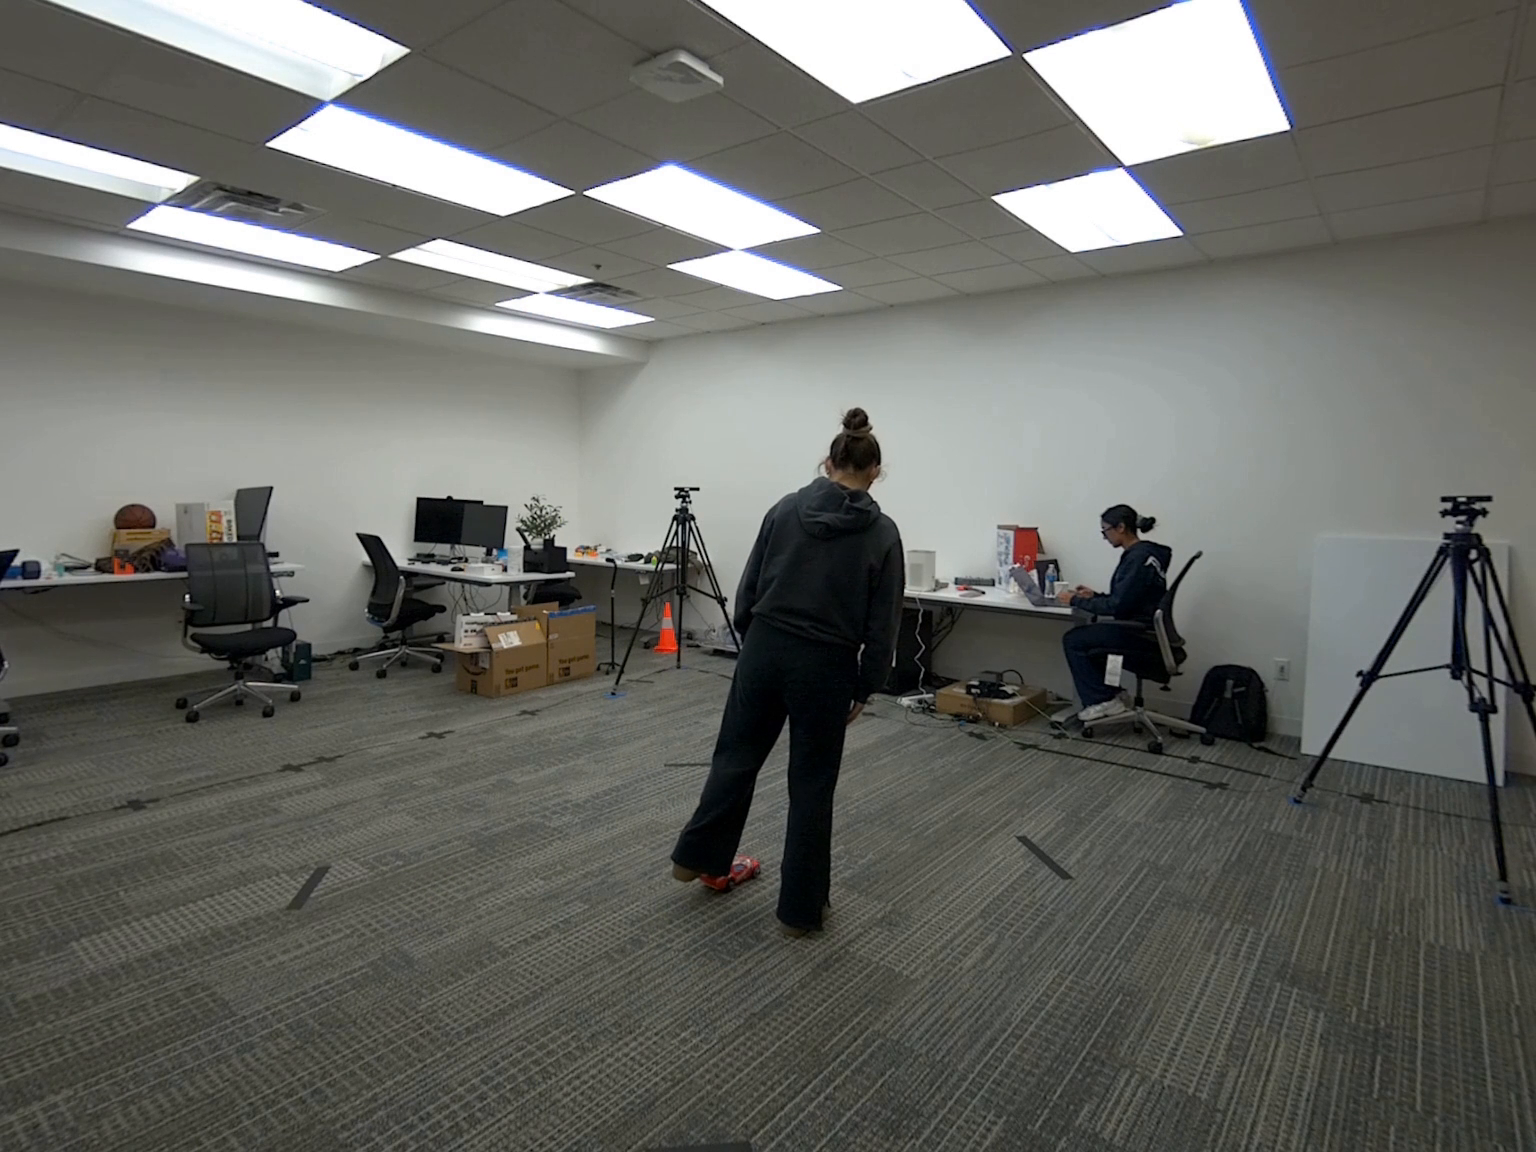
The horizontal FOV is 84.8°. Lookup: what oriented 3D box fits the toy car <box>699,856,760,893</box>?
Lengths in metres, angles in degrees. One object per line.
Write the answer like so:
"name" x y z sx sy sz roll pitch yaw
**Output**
"toy car" -0.137 1.047 3.006 0.135 0.083 0.245 5 -3 40
